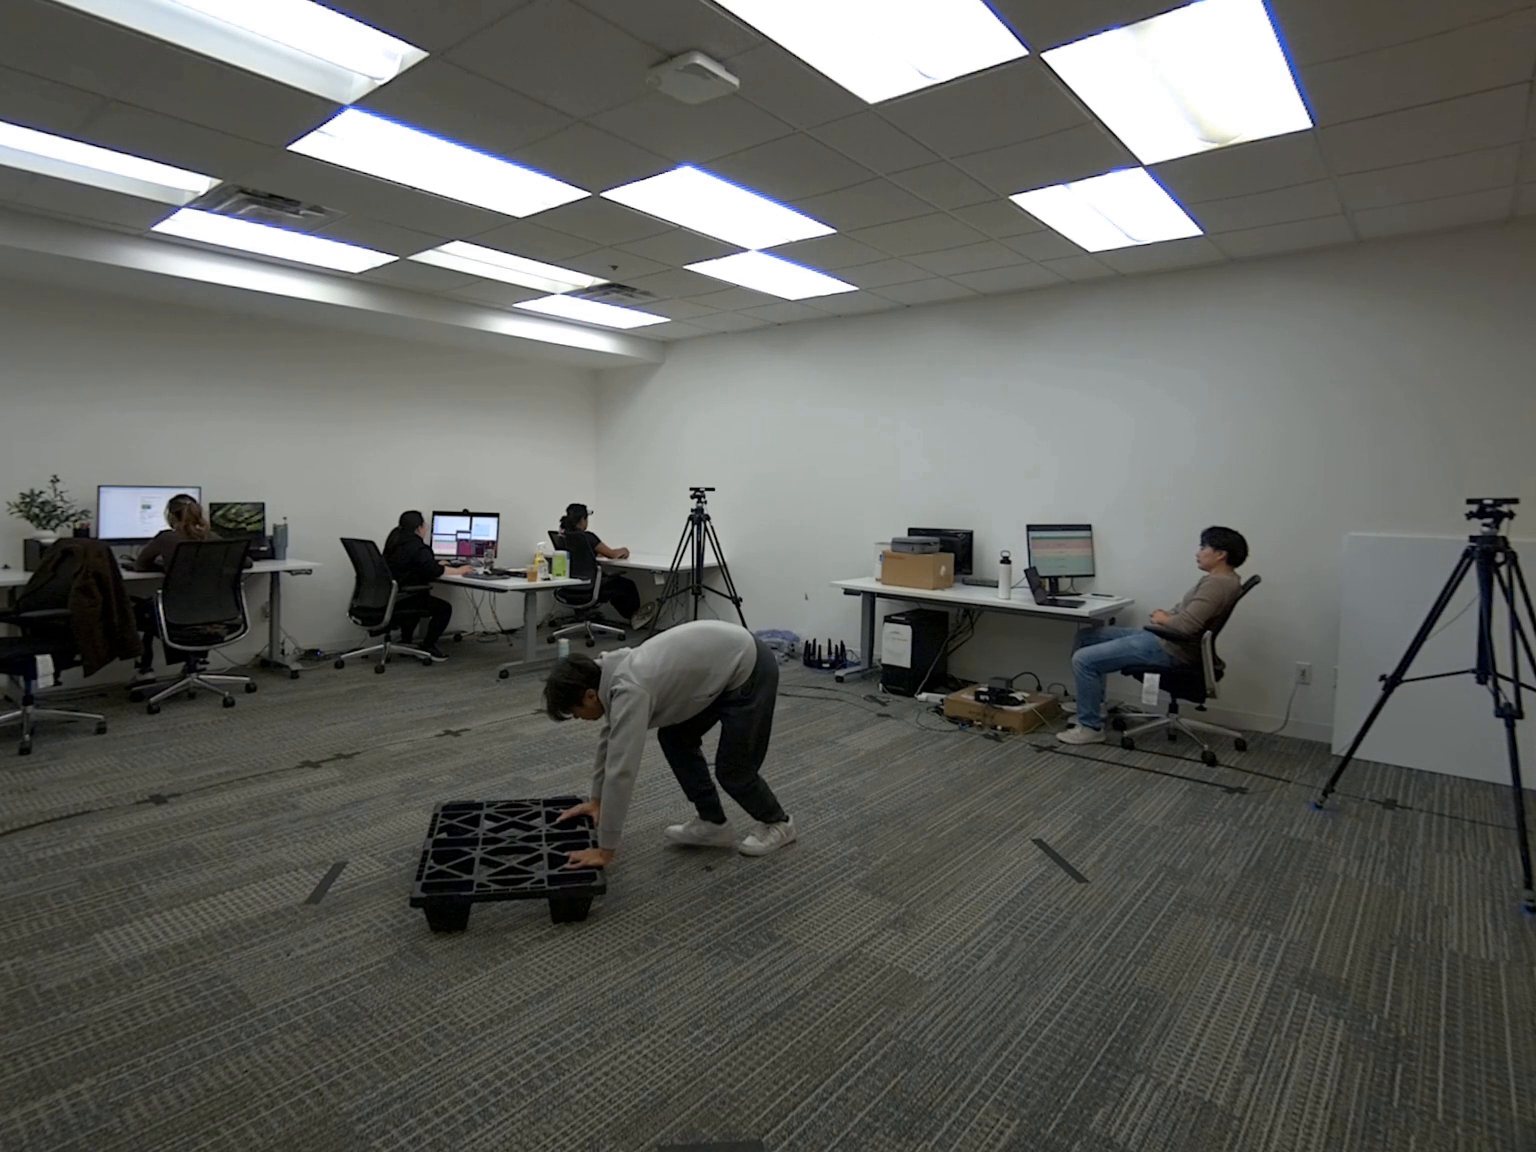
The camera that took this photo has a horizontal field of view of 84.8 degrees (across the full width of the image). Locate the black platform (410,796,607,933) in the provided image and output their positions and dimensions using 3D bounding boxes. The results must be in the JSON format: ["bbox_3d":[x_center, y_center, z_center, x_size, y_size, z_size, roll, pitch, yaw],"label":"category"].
[{"bbox_3d":[-0.920,0.992,3.016,0.596,0.143,0.821,-1,6,-15],"label":"black platform"}]
